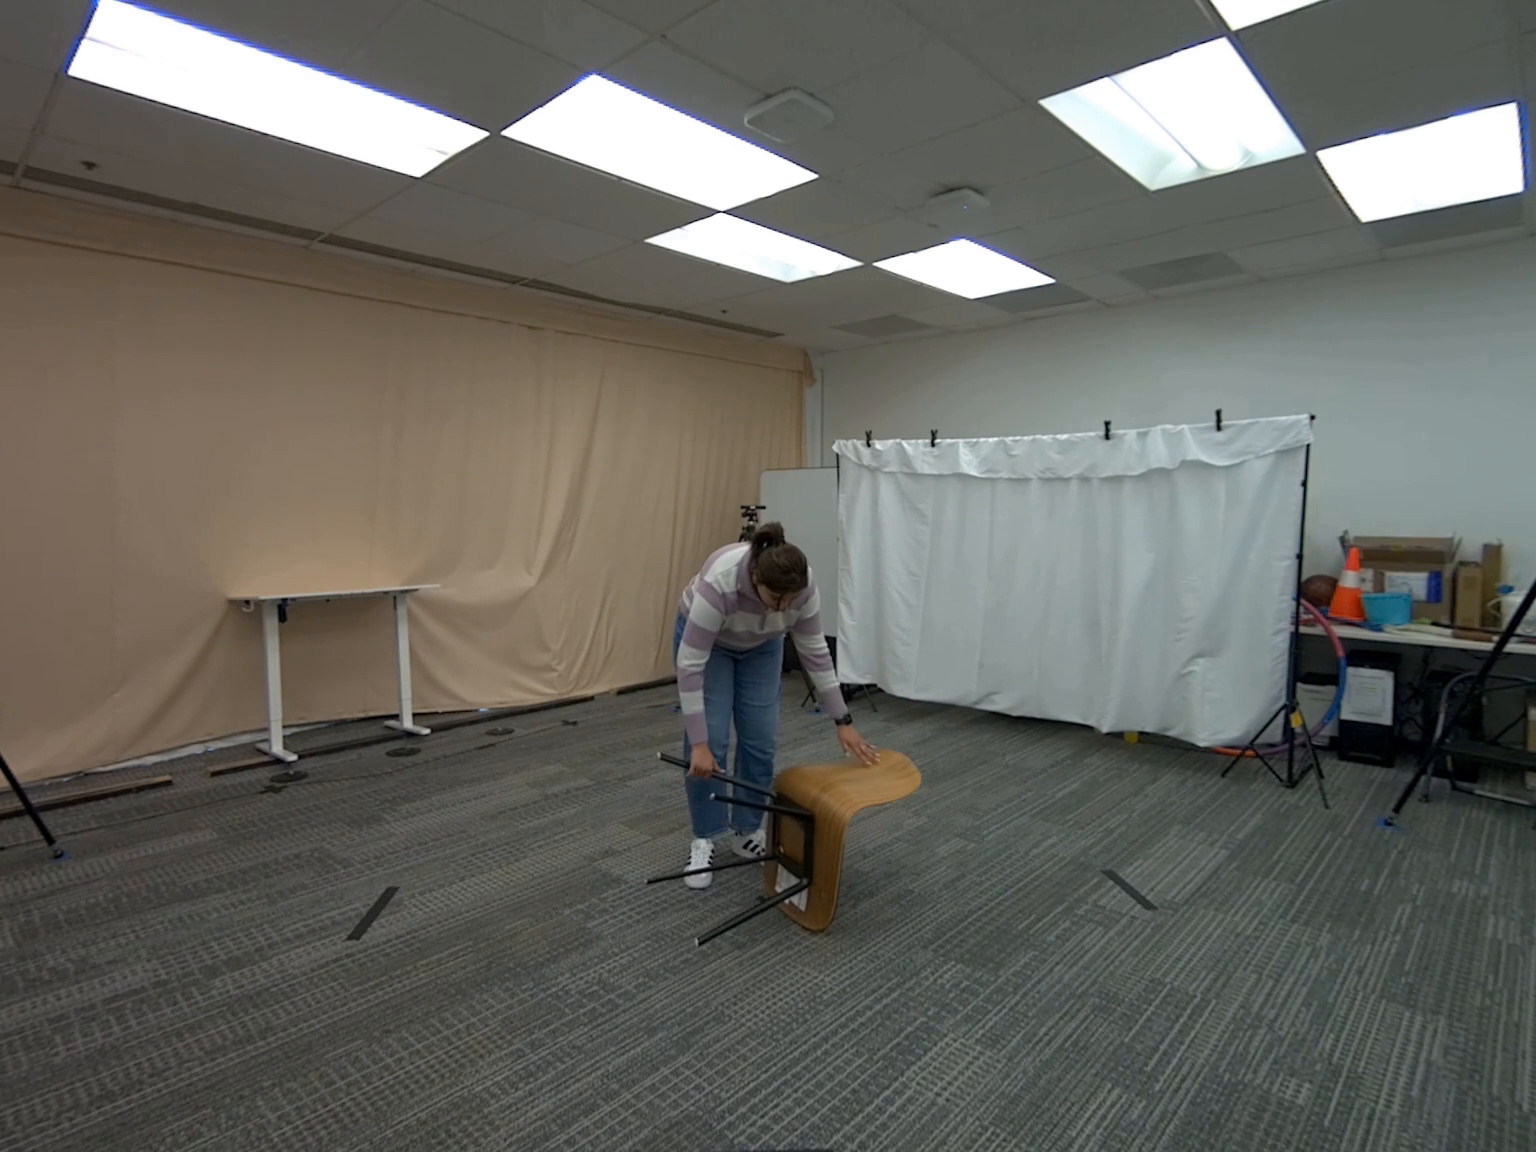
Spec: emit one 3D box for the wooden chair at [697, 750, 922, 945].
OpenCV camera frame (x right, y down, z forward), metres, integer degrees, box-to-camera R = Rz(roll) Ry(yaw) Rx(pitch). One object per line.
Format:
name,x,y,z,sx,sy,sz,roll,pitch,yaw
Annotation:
wooden chair,0.088,0.897,2.869,0.855,0.522,0.491,1,3,-27
